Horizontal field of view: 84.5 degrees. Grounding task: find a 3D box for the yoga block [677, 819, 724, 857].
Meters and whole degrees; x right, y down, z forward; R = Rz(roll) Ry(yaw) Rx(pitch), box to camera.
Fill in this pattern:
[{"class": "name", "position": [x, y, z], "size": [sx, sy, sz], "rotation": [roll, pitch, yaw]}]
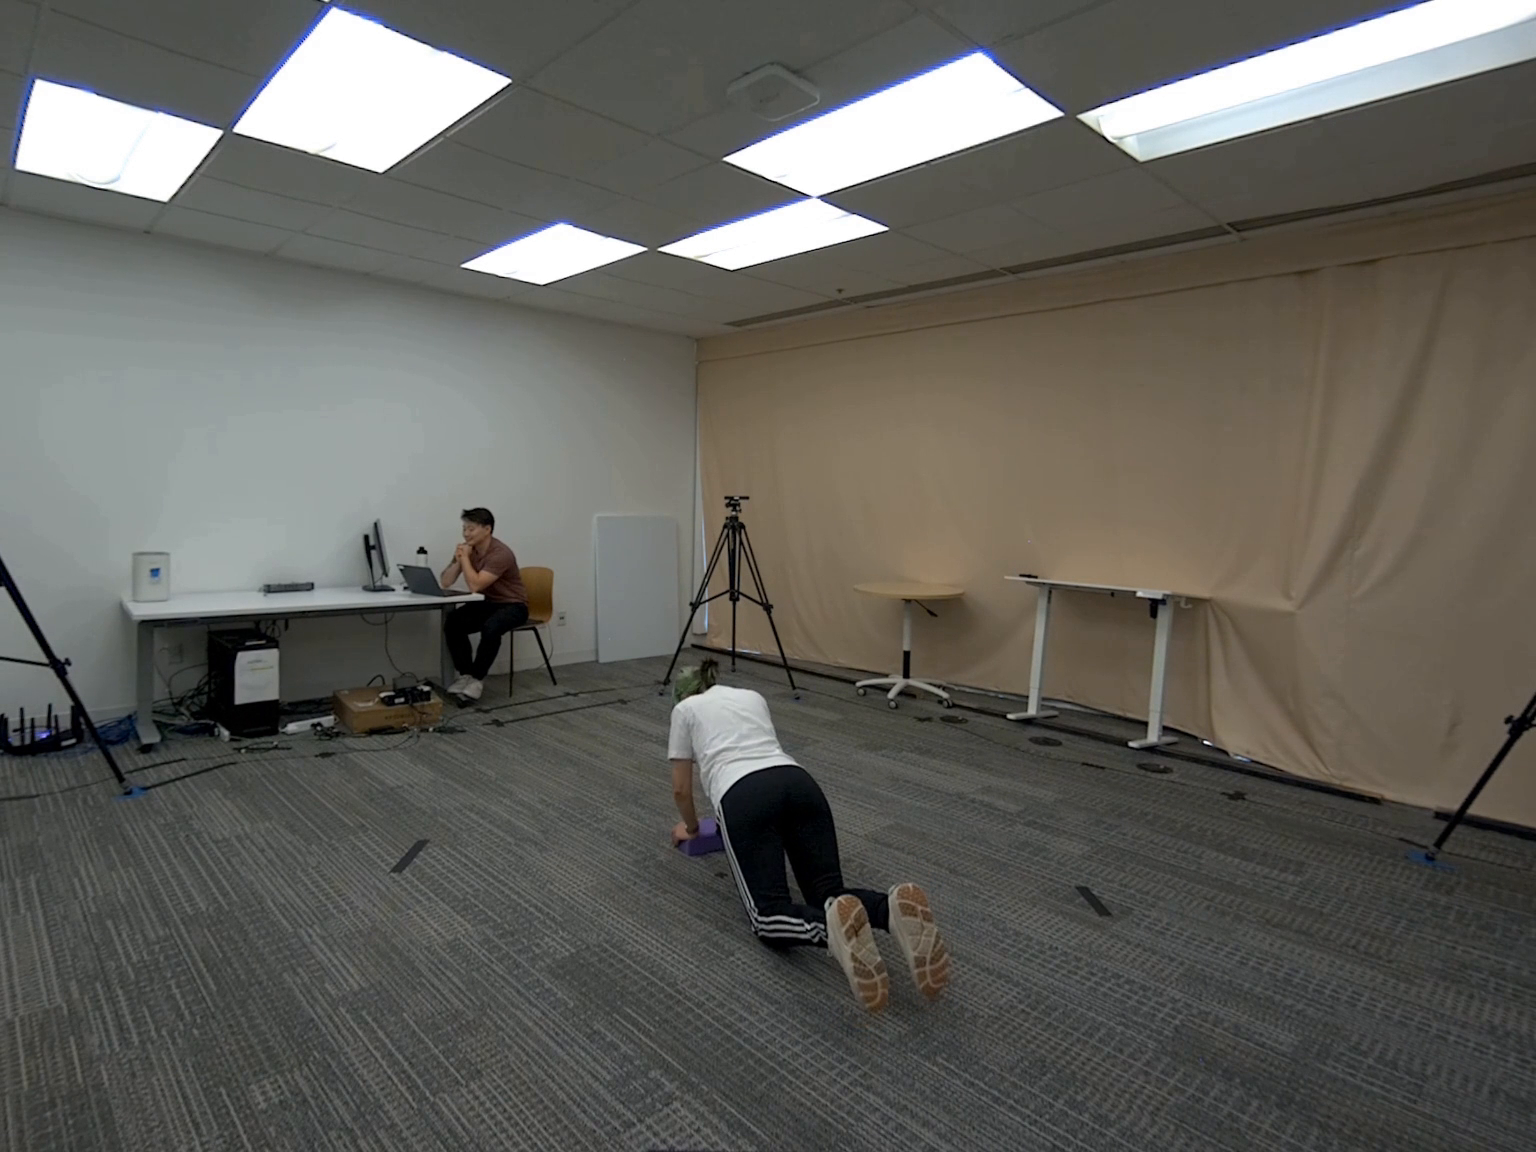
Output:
[{"class": "yoga block", "position": [-0.253, 1.042, 3.364], "size": [0.225, 0.076, 0.152], "rotation": [-3, 5, -31]}]
